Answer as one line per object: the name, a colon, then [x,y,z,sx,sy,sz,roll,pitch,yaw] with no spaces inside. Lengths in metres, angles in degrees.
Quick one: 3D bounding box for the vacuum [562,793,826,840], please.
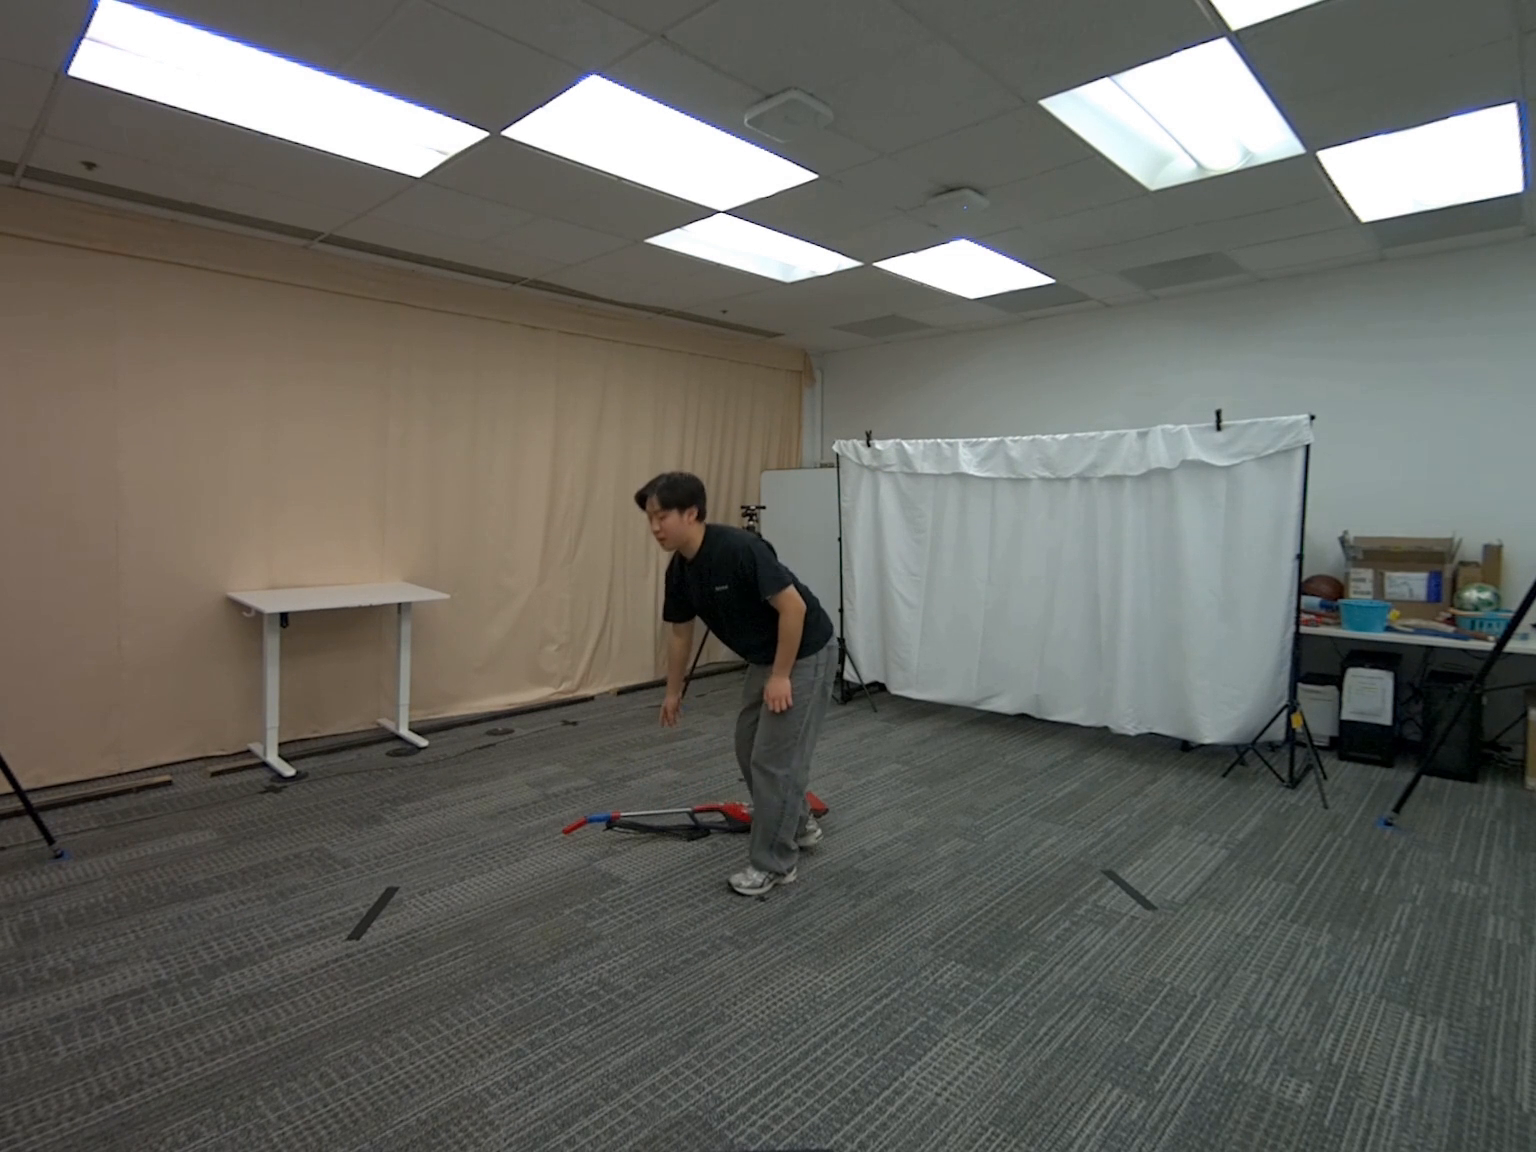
vacuum: [-0.331,1.026,3.547,1.035,0.144,0.256,-1,3,-13]
